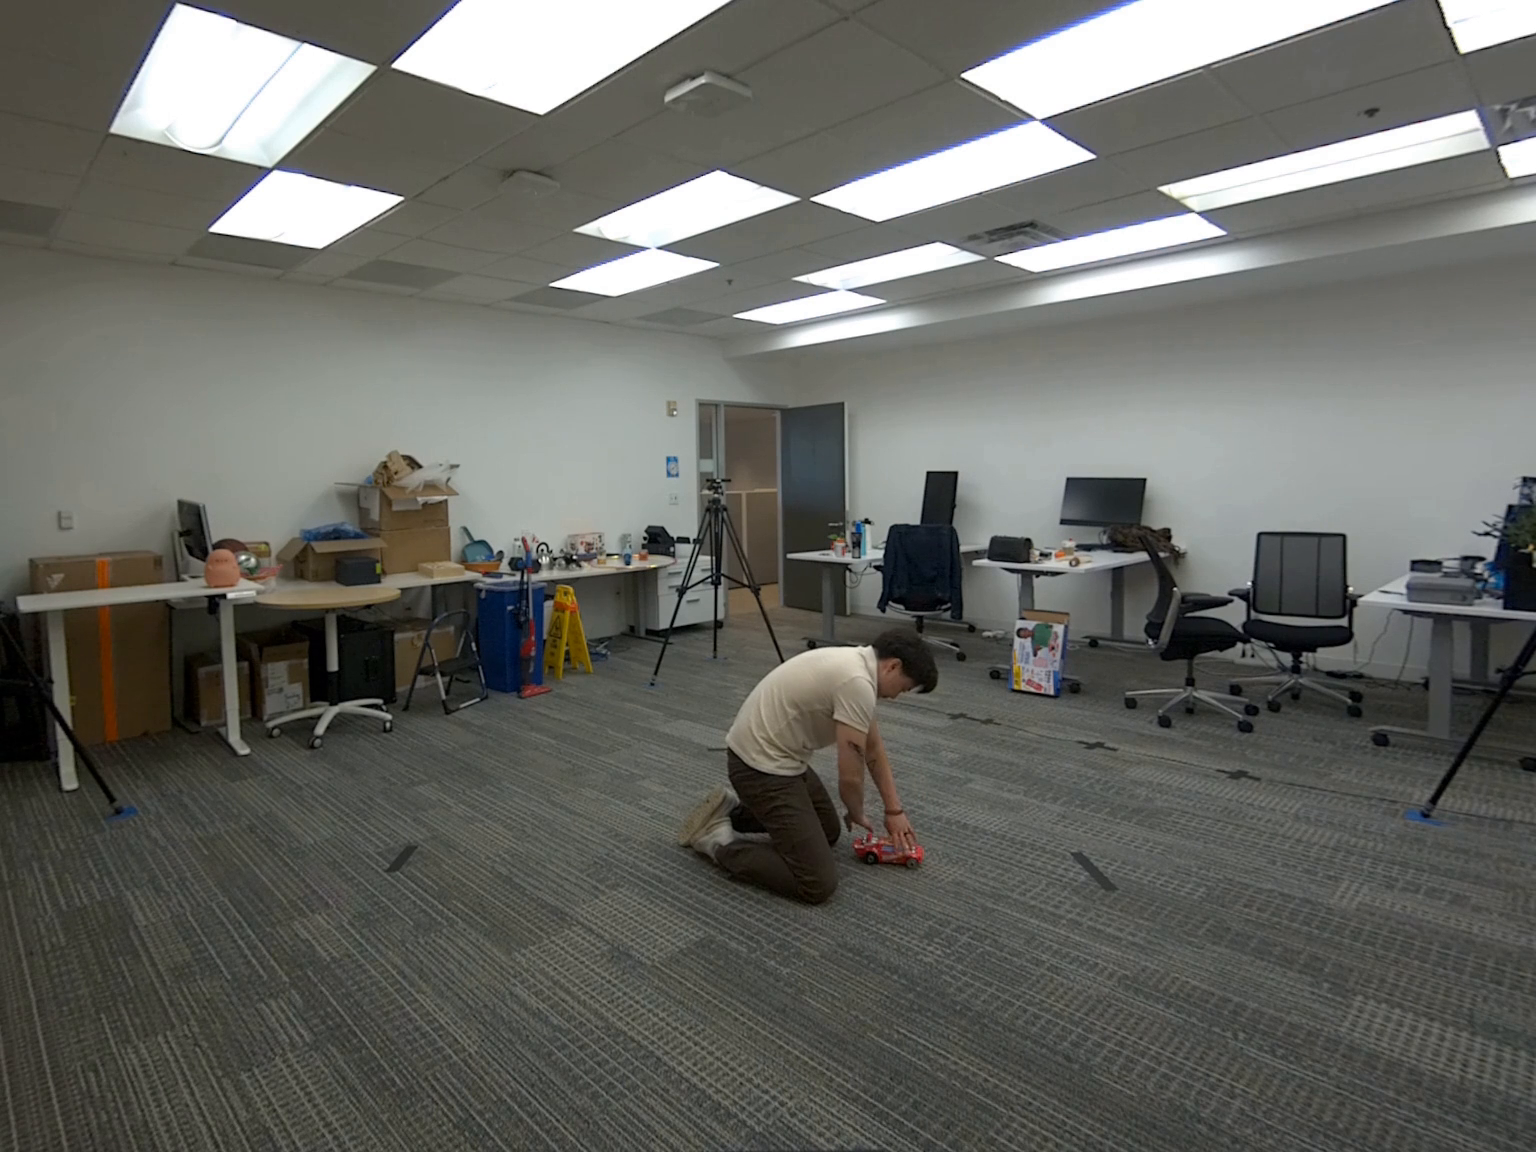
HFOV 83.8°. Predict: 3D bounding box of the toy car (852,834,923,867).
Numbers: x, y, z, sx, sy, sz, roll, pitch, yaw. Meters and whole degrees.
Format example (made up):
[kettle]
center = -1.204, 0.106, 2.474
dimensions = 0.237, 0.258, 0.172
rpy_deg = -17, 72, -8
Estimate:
[toy car]
center = 0.438, 1.004, 3.112
dimensions = 0.259, 0.083, 0.129
rpy_deg = 11, 7, 14
